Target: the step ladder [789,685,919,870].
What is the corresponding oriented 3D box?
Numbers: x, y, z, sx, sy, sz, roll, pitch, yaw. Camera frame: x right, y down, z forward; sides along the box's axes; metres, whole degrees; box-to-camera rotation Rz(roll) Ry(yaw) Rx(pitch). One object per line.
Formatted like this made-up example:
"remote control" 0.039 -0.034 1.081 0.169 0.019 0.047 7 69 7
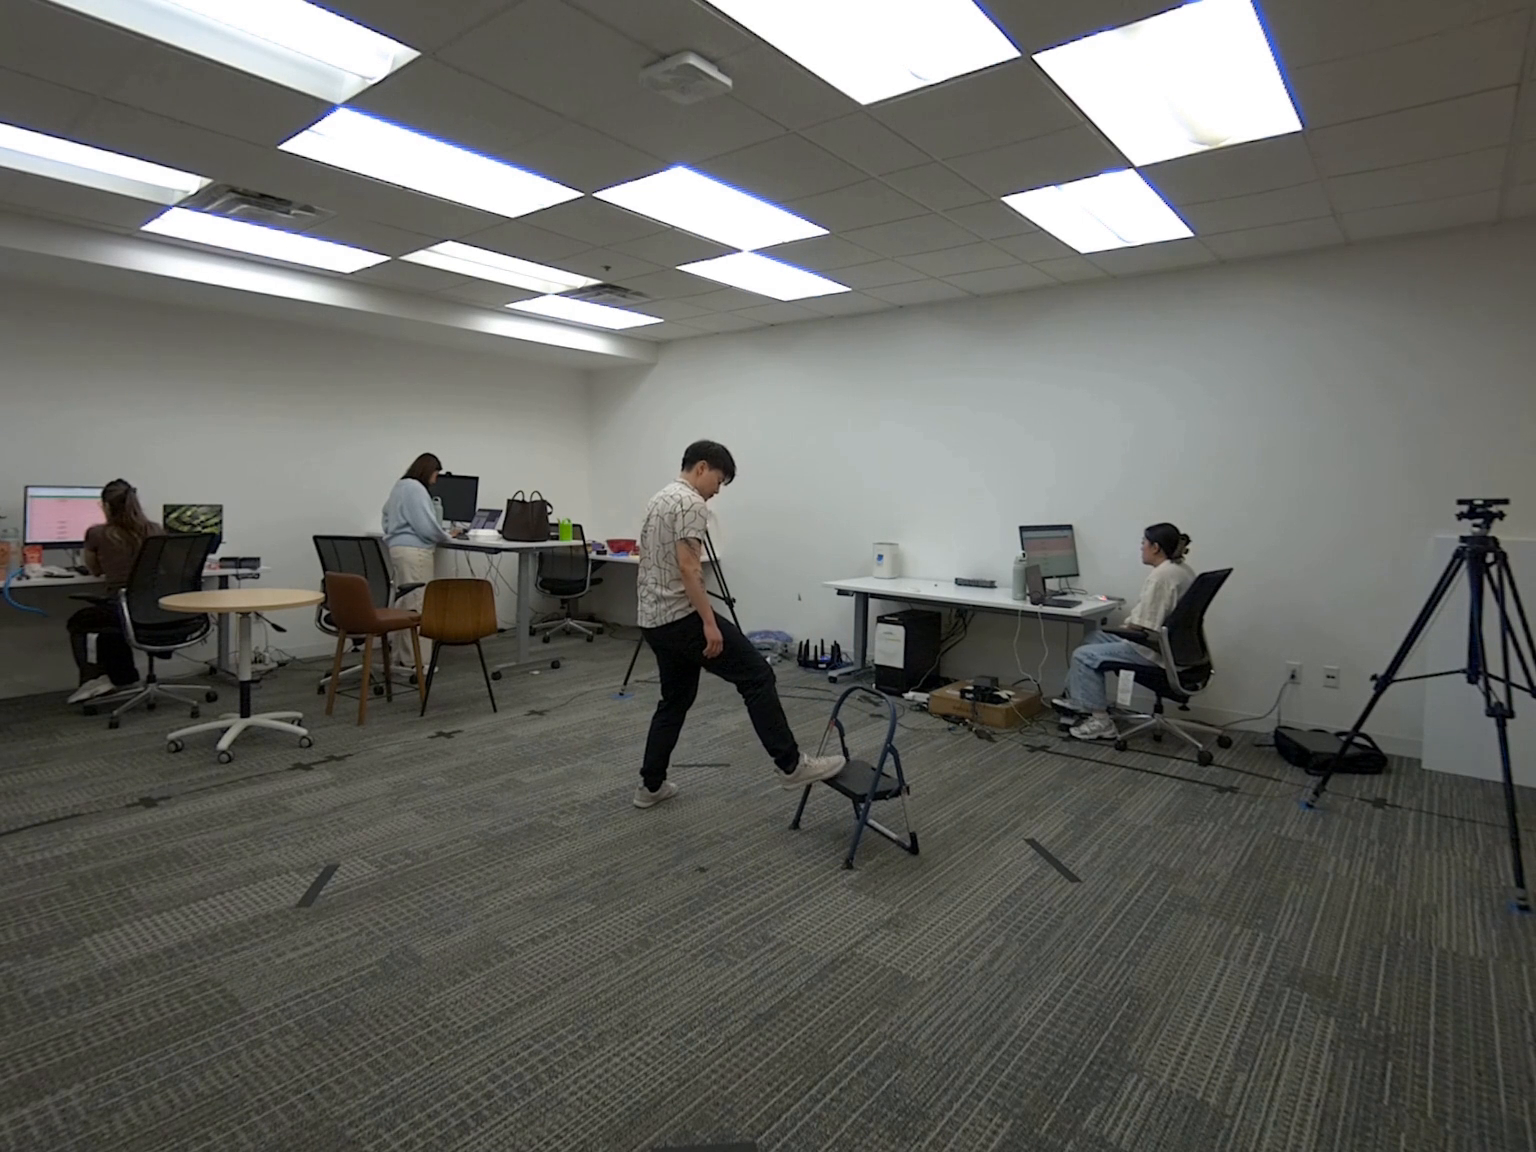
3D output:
"step ladder" 0.342 0.753 3.379 0.340 0.604 0.443 0 4 -28
